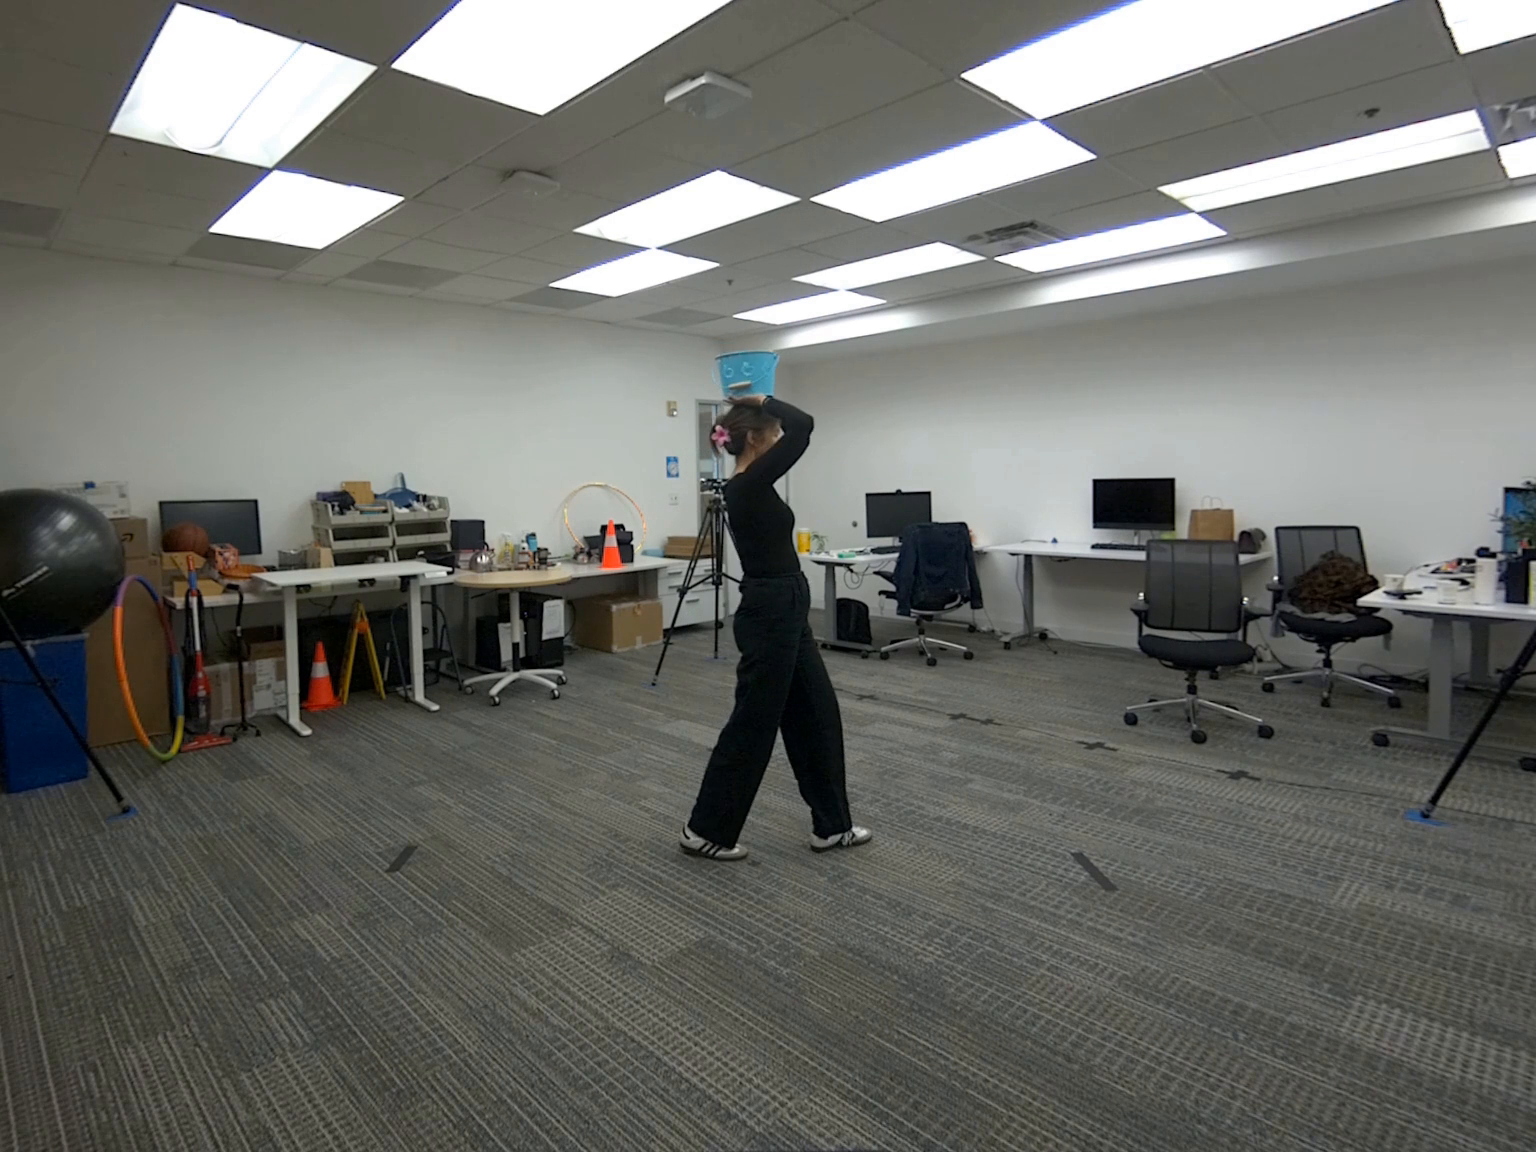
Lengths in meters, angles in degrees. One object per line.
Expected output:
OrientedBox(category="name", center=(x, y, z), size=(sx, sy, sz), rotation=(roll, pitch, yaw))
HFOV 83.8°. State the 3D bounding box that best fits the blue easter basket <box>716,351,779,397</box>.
OrientedBox(category="blue easter basket", center=(-0.078, -0.725, 3.111), size=(0.243, 0.155, 0.244), rotation=(-4, 4, -1))
